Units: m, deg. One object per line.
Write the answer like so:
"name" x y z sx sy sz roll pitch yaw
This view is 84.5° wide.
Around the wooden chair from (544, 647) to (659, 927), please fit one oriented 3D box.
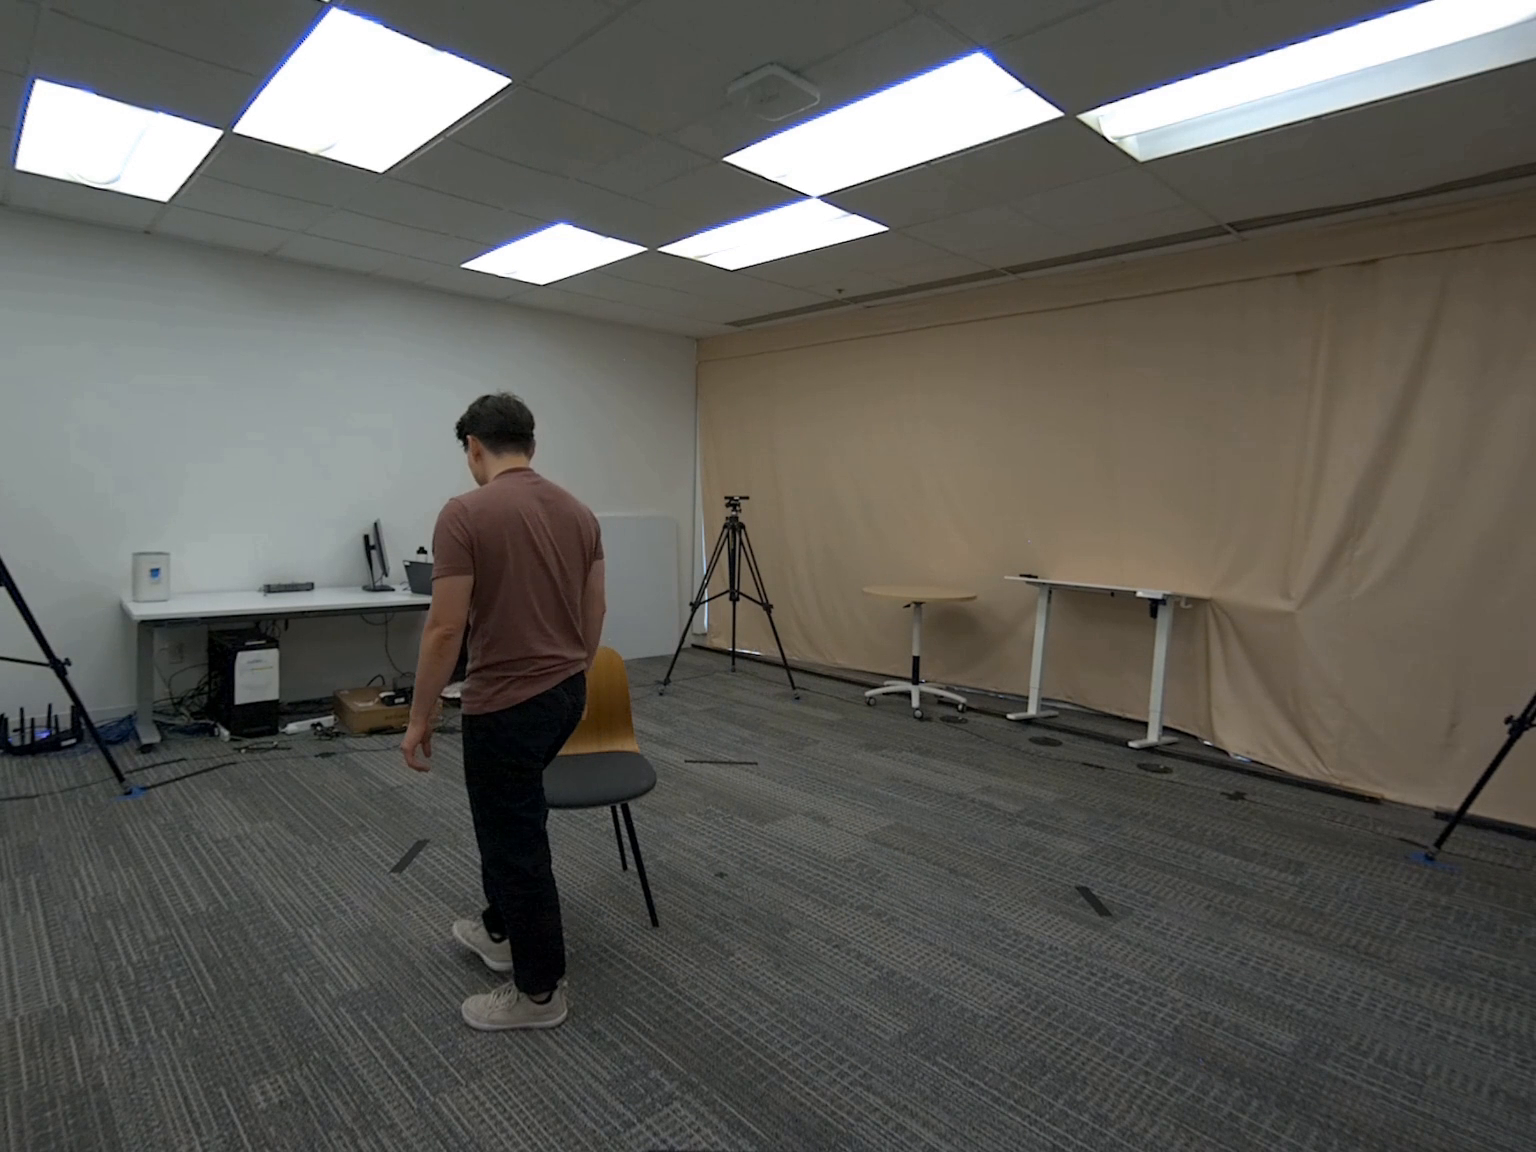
"wooden chair" -0.629 0.693 2.807 0.470 0.878 0.531 0 -1 -21
